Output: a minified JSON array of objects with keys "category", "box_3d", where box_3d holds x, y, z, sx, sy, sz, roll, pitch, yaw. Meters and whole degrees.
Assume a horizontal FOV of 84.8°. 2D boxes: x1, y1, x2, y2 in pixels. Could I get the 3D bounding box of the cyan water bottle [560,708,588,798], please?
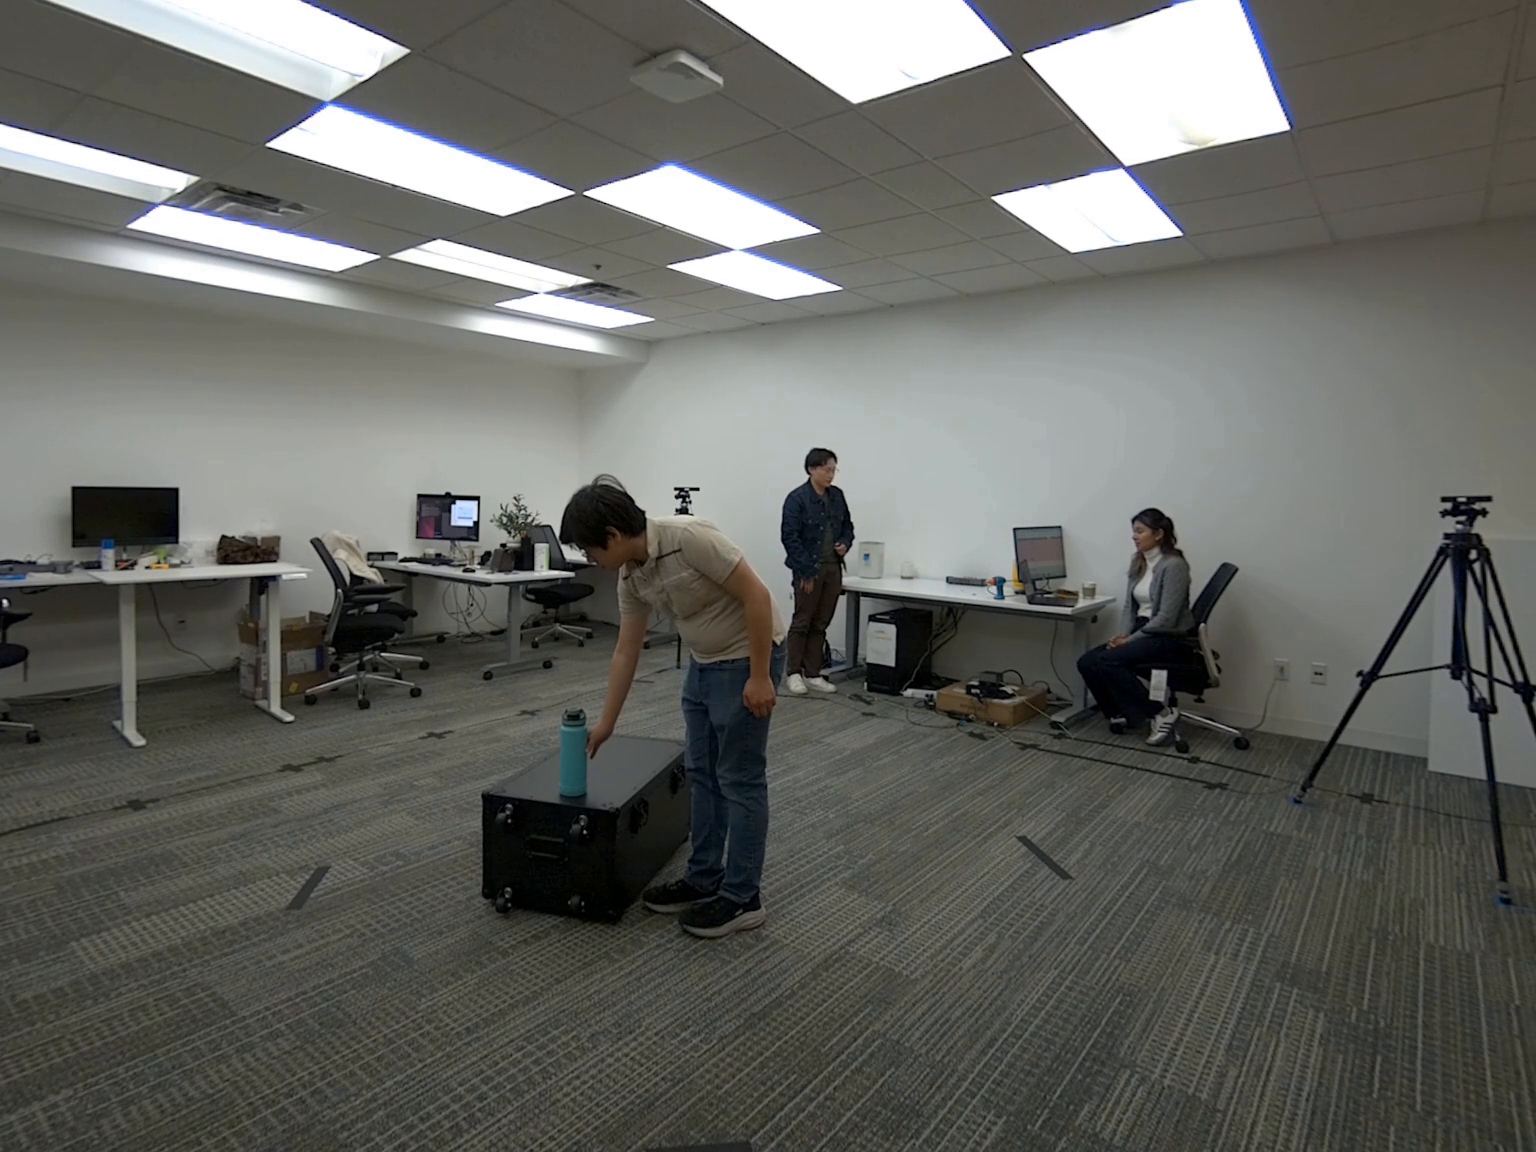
[{"category":"cyan water bottle","box_3d":[-0.659,0.574,2.821,0.092,0.282,0.093,1,3,-2]}]
